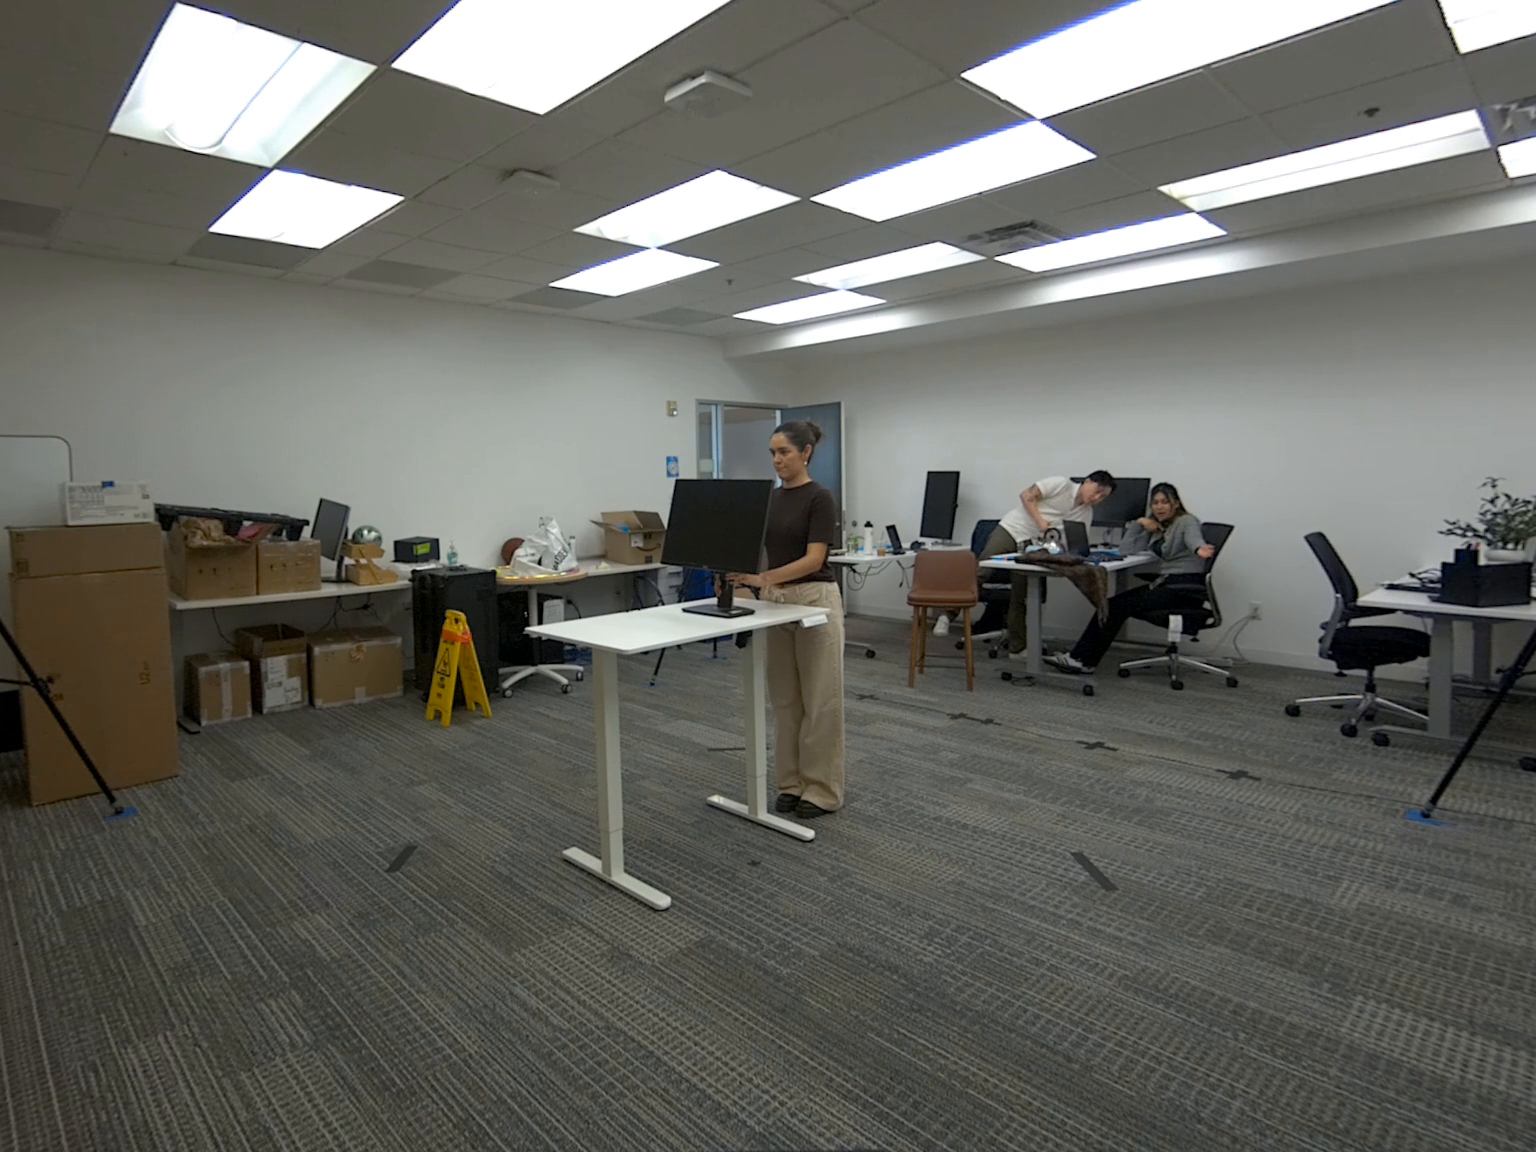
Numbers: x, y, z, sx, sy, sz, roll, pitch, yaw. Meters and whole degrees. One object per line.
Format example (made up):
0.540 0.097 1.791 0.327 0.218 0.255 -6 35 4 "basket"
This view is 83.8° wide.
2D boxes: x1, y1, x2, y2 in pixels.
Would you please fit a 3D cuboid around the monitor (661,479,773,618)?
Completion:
-0.194 -0.115 3.281 0.547 0.513 0.170 6 10 44 "monitor"
